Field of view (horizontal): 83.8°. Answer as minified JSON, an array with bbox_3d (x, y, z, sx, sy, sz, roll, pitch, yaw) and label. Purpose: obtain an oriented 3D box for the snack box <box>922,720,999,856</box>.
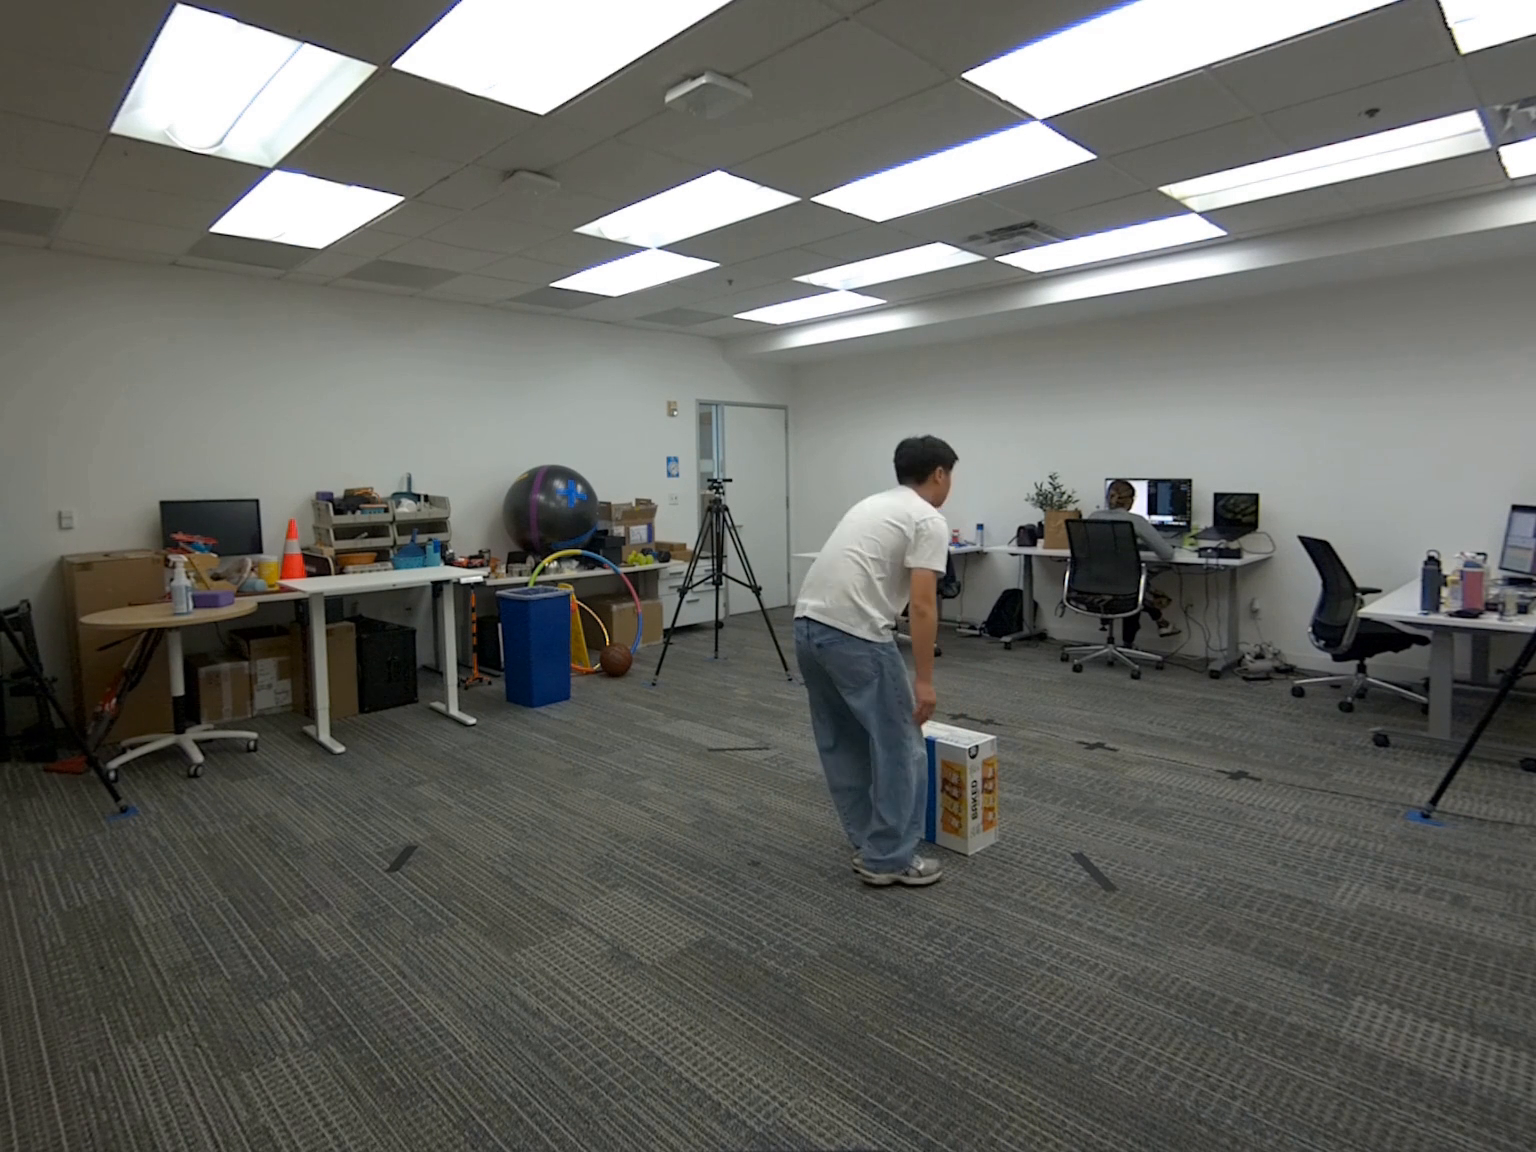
[{"bbox_3d":[0.687,0.808,3.313,0.200,0.404,0.351,-5,6,-41],"label":"snack box"}]
